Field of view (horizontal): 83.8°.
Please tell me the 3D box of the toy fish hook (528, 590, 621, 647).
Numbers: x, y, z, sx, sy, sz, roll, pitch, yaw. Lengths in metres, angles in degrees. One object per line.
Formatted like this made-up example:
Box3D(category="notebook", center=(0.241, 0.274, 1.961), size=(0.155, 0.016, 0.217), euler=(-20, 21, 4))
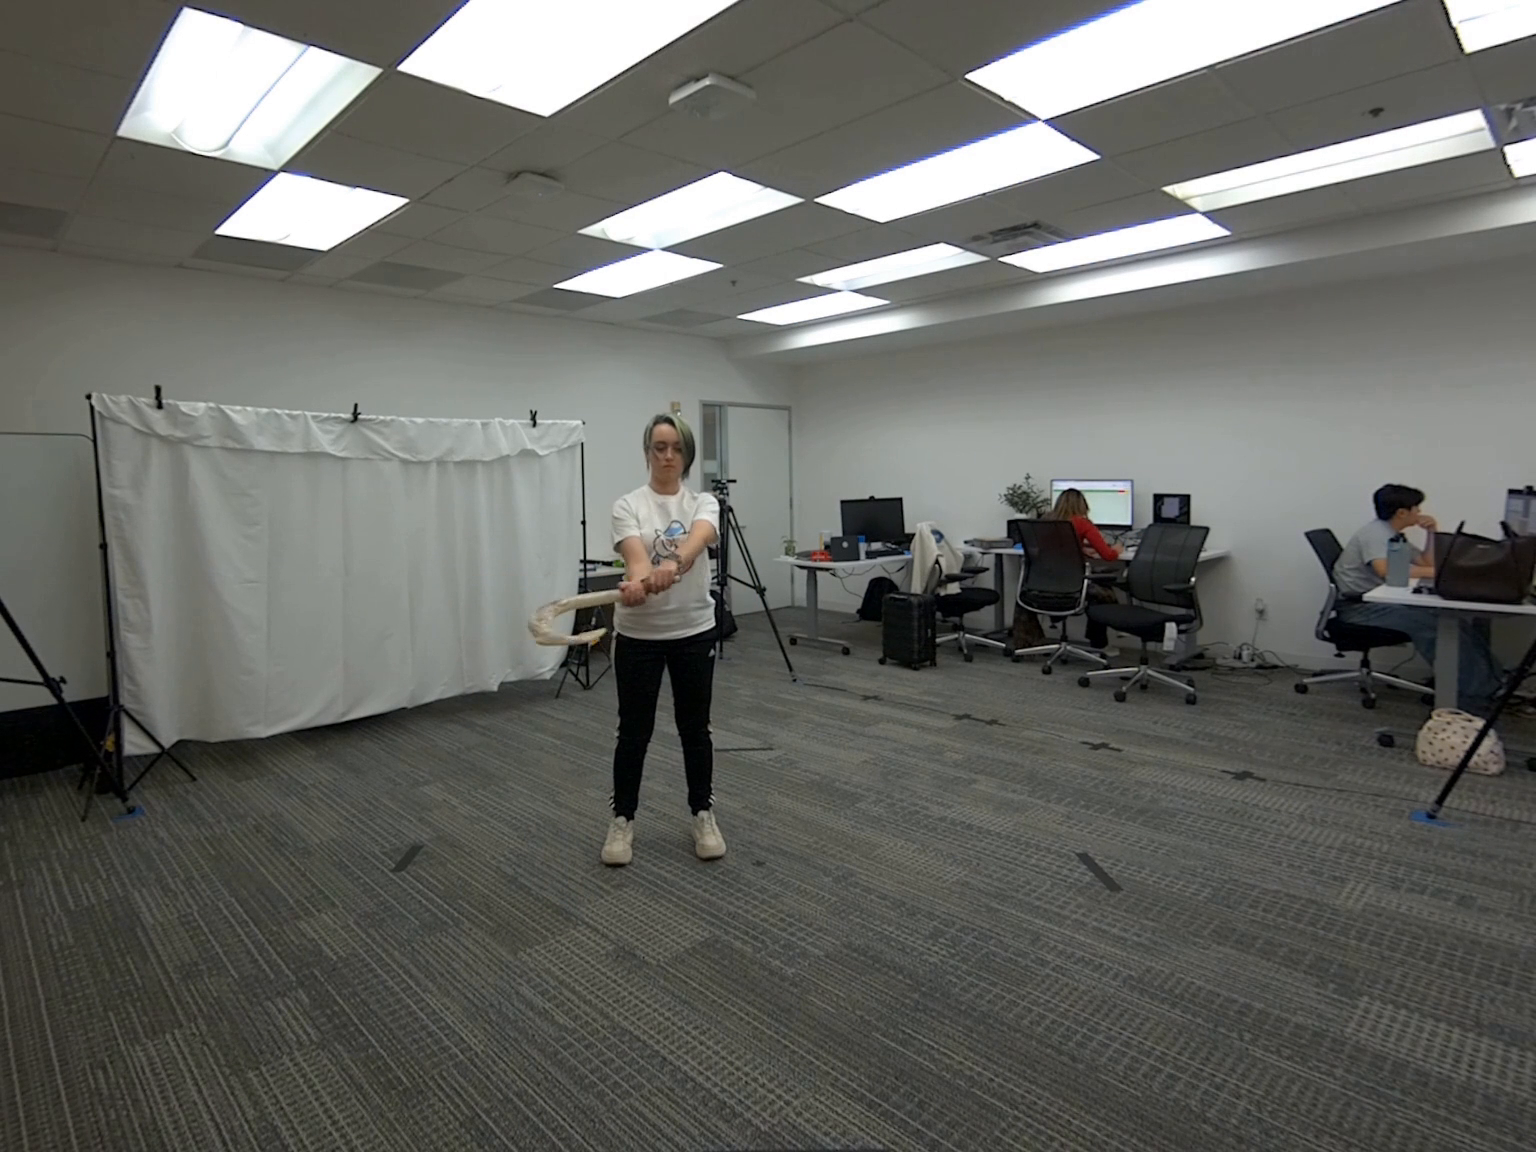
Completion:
Box3D(category="toy fish hook", center=(-0.450, 0.098, 2.589), size=(0.500, 0.047, 0.233), euler=(-23, 44, -25))
